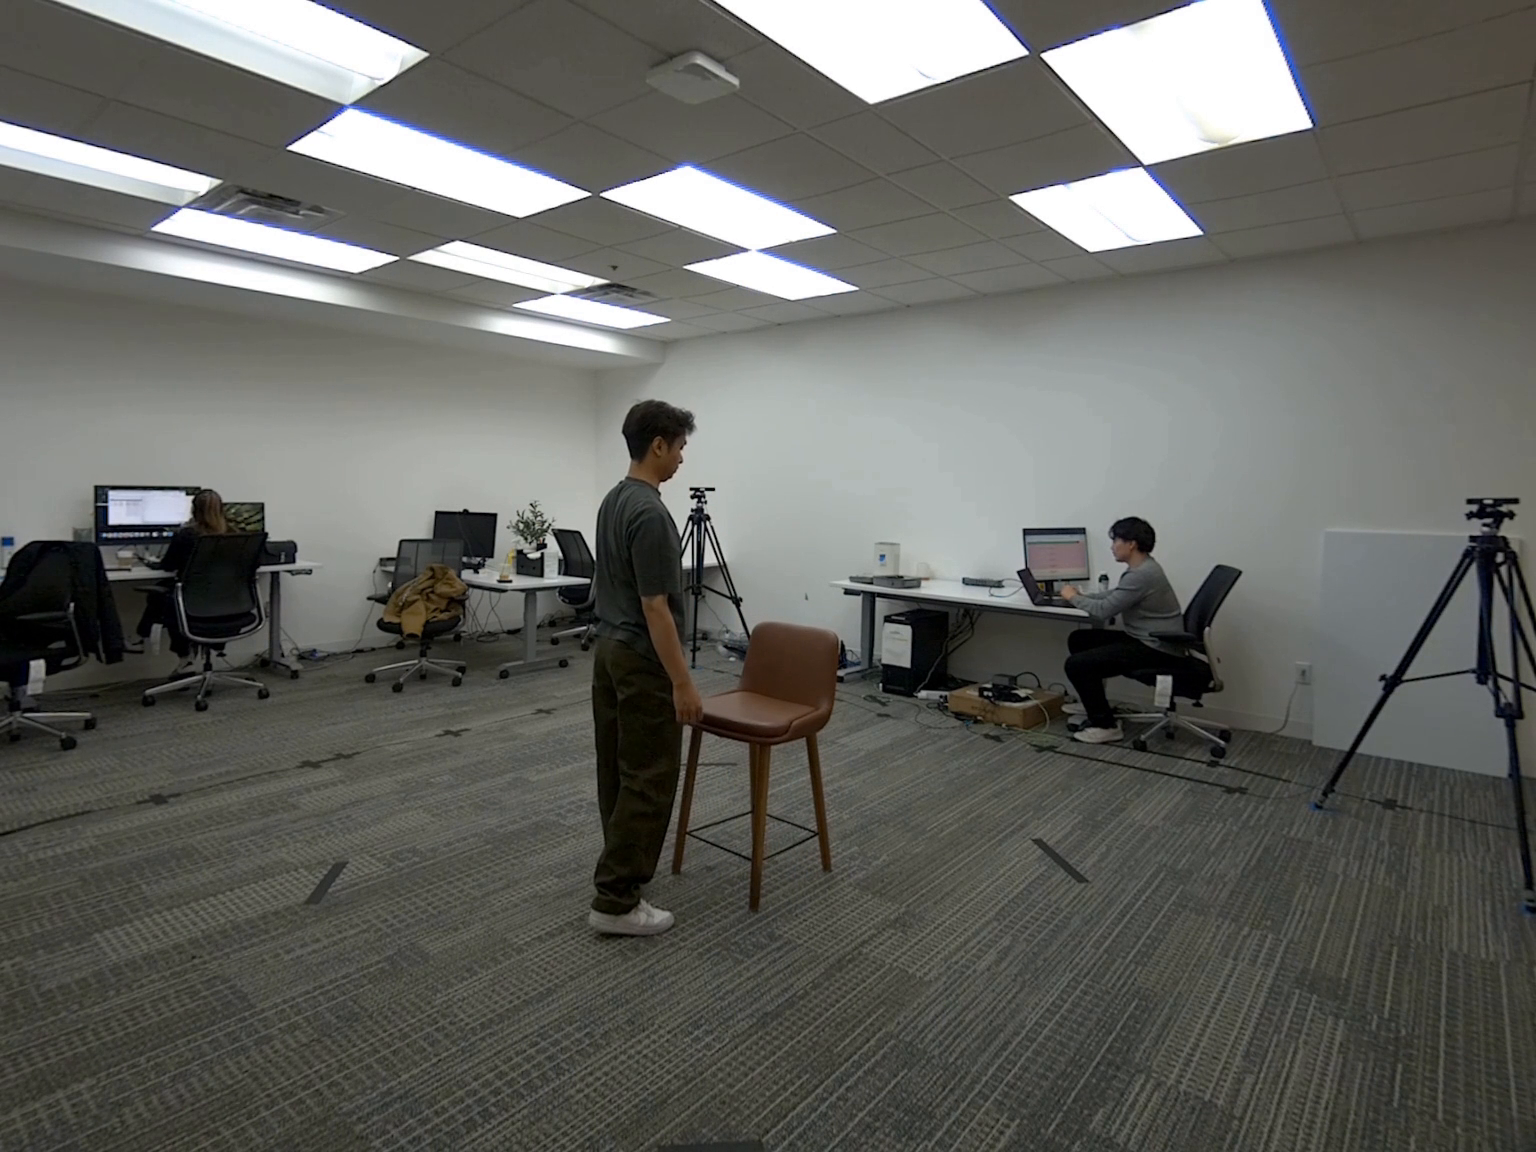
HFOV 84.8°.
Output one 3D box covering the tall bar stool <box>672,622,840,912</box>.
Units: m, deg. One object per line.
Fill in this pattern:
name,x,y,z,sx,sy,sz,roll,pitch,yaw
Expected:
tall bar stool,-0.049,0.636,3.078,0.472,0.889,0.453,4,2,42
